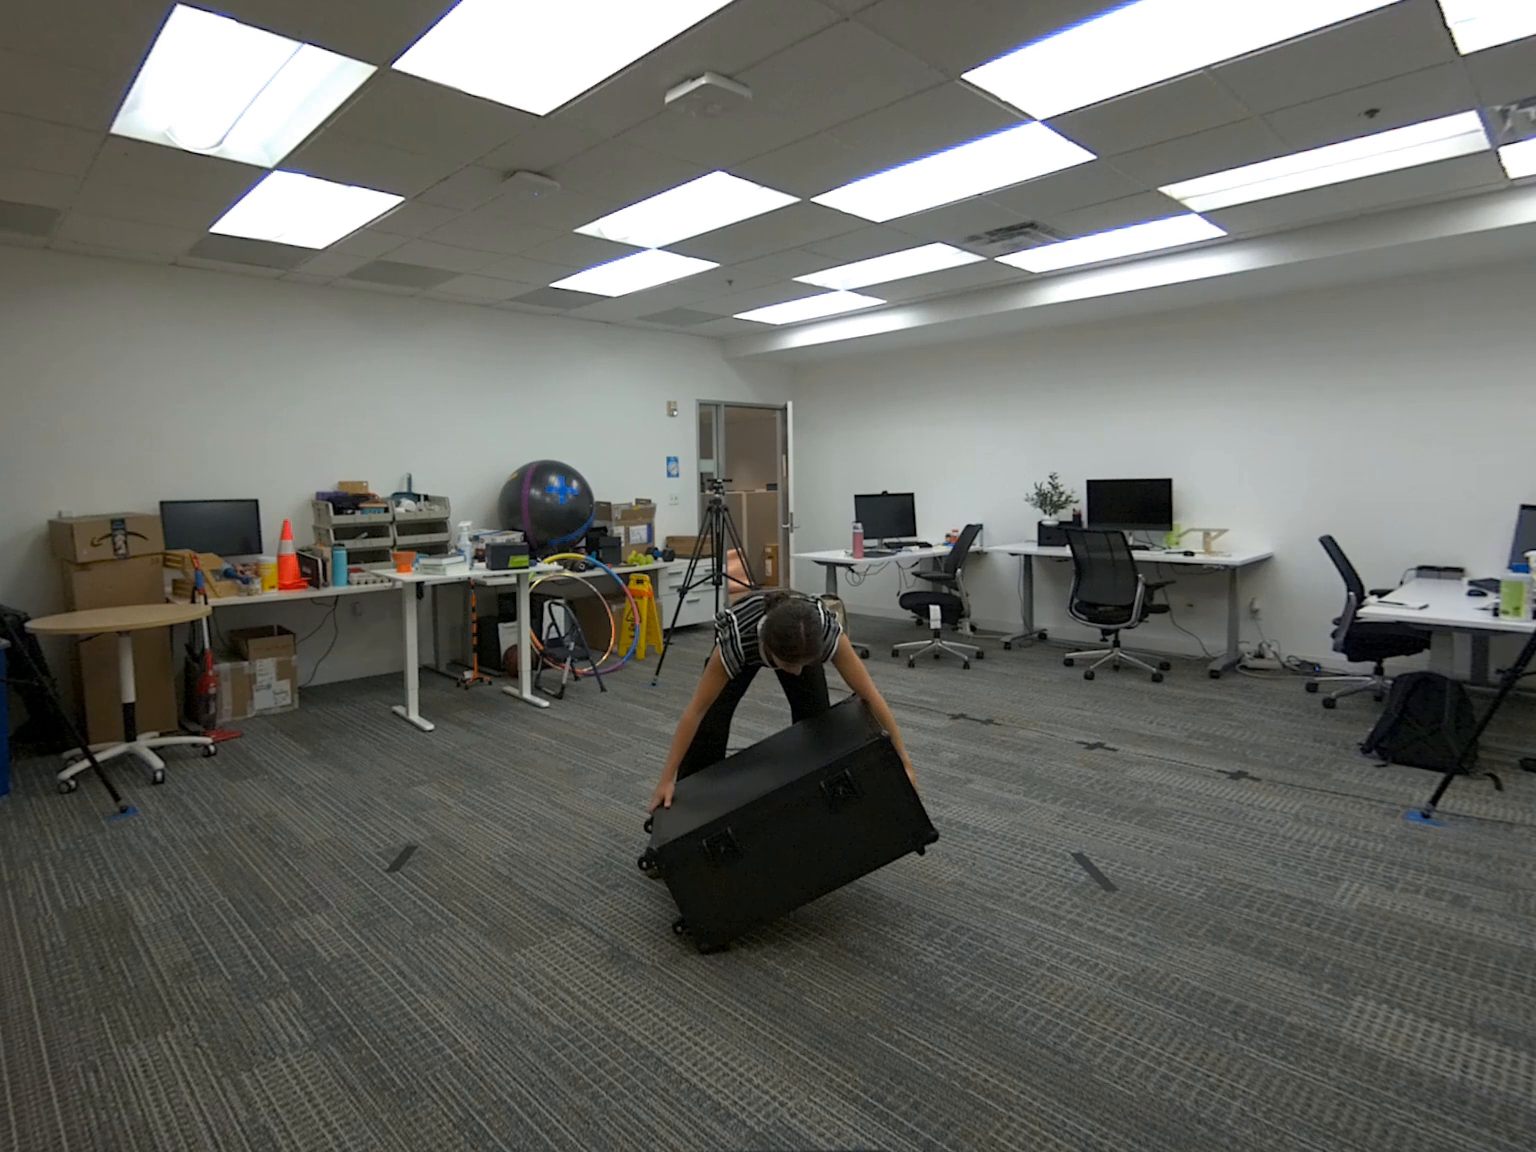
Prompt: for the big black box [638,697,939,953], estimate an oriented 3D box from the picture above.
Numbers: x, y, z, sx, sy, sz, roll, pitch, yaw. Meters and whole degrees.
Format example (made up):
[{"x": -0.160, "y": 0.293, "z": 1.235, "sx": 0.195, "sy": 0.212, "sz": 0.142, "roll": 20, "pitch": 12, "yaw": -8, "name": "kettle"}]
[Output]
[{"x": 0.042, "y": 0.781, "z": 2.721, "sx": 0.861, "sy": 0.394, "sz": 0.525, "roll": -27, "pitch": 6, "yaw": -1, "name": "big black box"}]
